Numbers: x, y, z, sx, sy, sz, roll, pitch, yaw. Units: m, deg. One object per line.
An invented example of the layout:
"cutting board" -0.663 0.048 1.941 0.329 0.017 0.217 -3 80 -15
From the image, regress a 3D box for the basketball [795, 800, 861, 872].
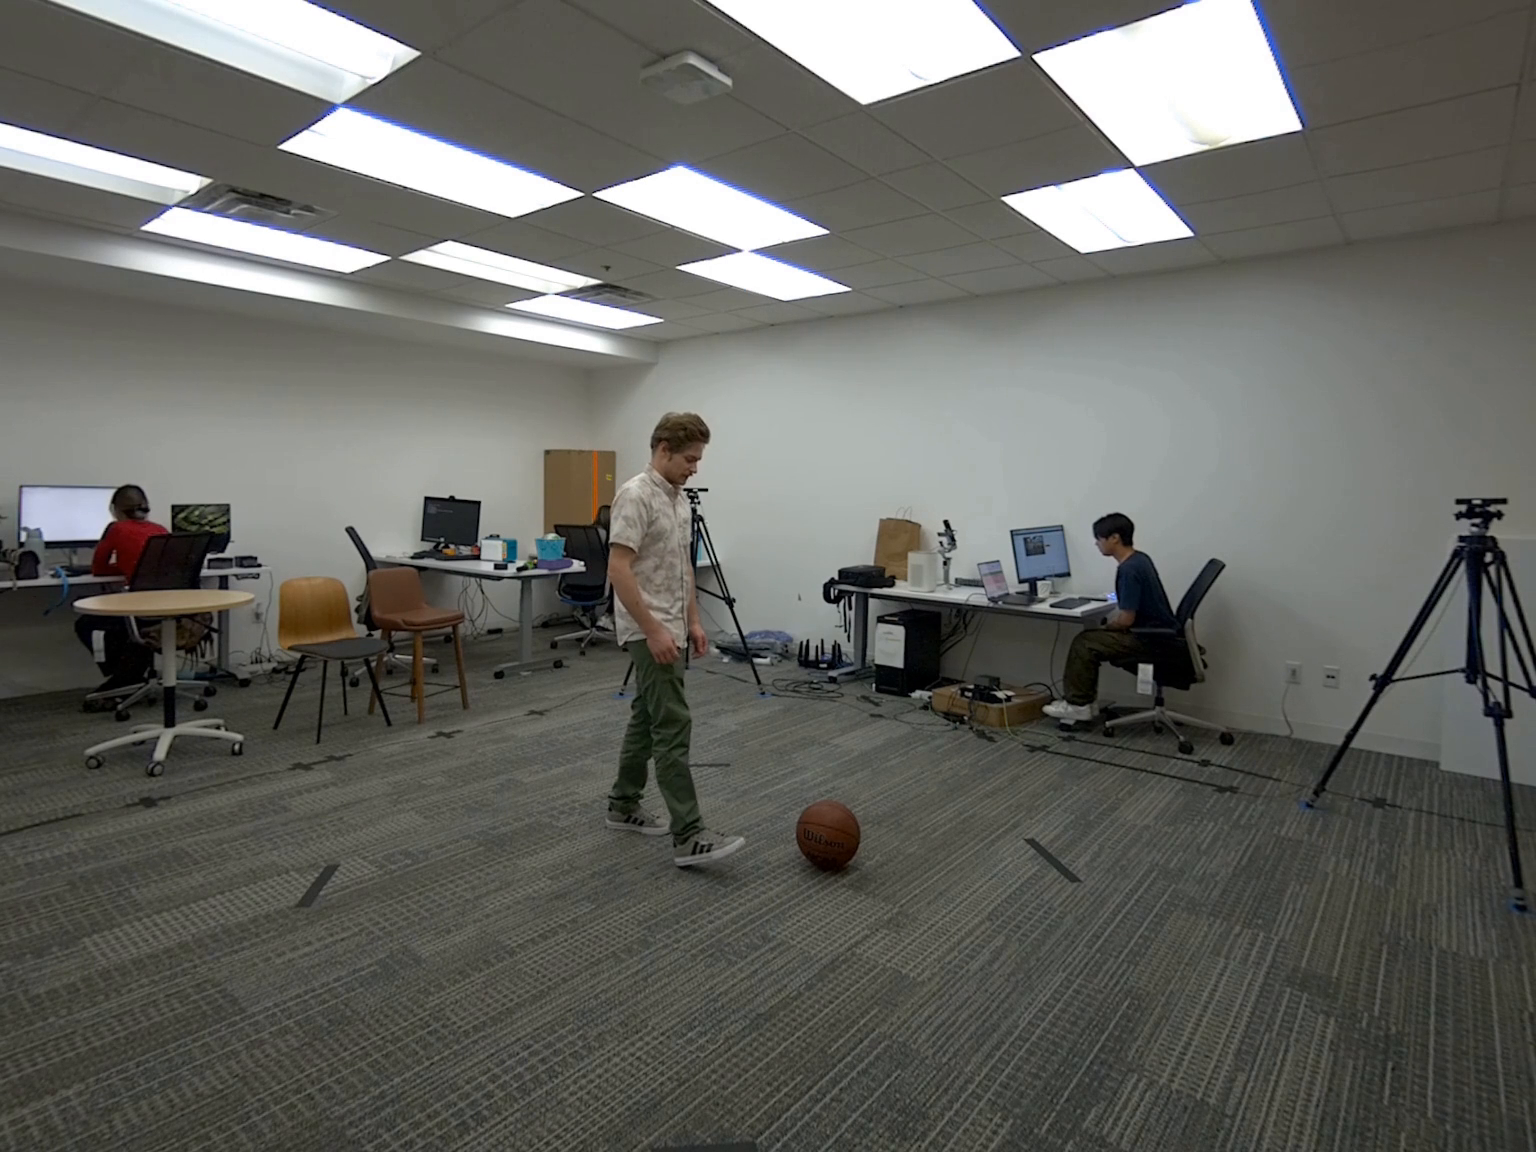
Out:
"basketball" 0.216 0.953 3.162 0.236 0.235 0.237 1 4 -2
